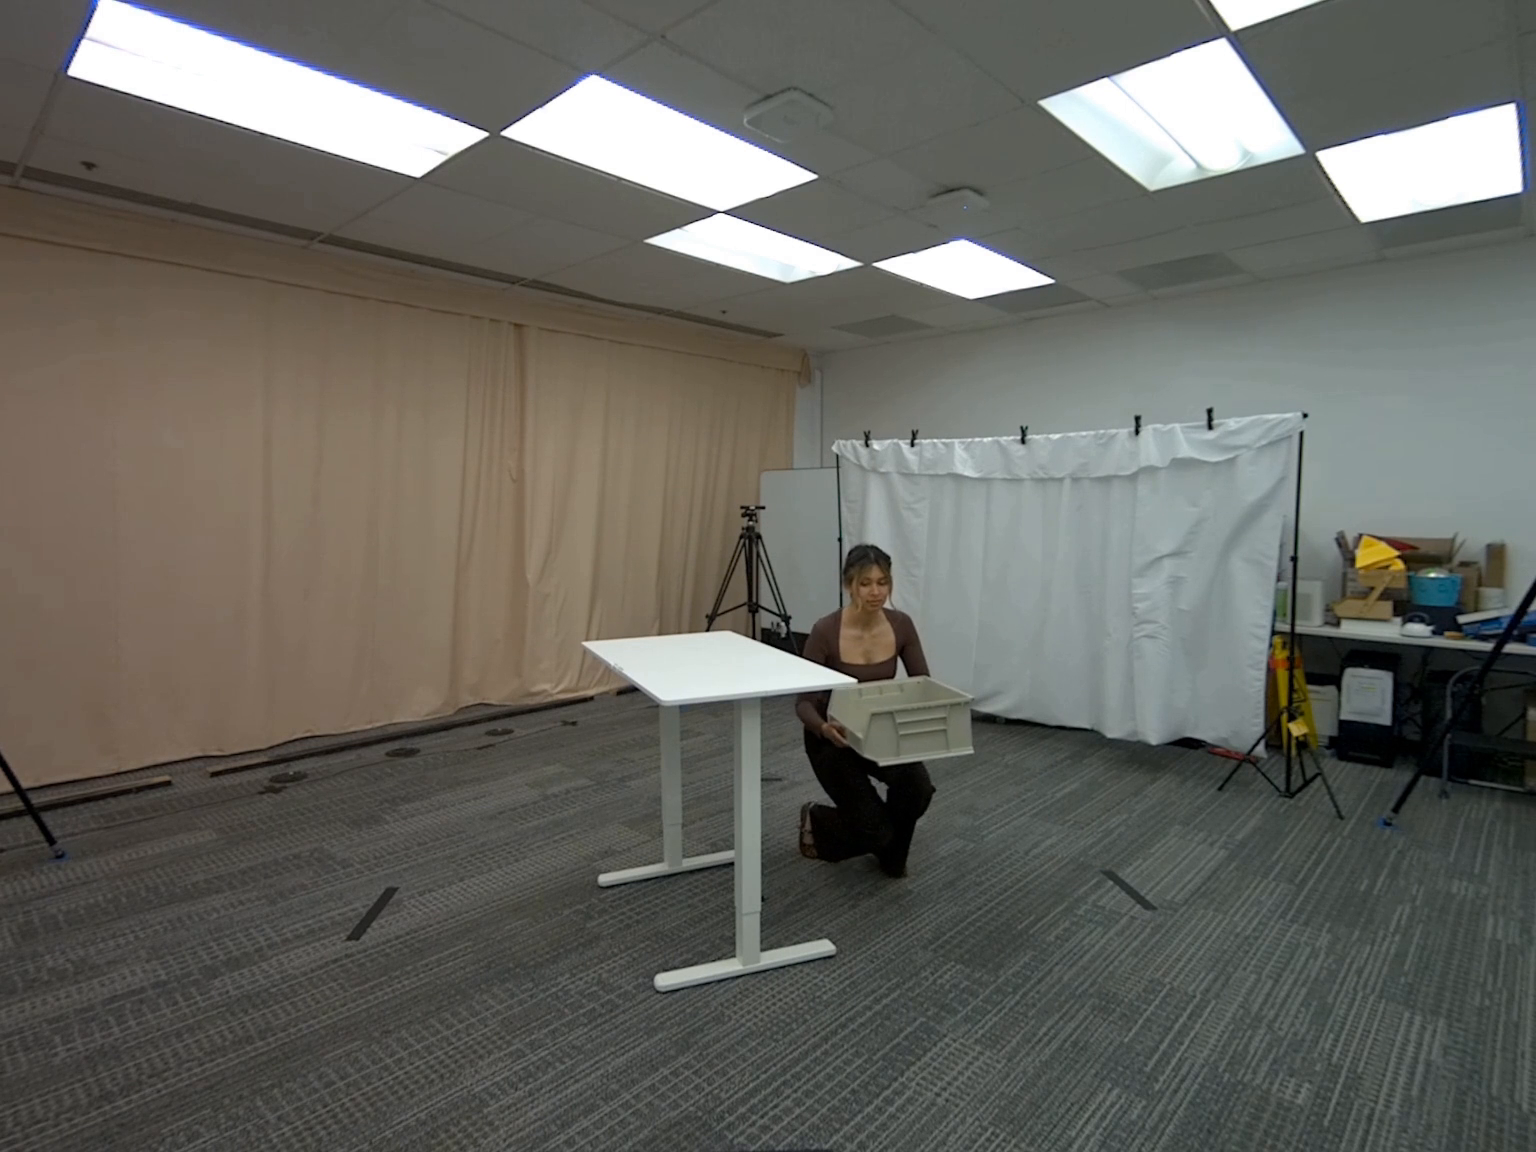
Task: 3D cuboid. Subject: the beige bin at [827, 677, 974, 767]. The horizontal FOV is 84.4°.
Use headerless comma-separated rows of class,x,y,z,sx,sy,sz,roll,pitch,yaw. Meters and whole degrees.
beige bin,0.418,0.481,2.830,0.374,0.189,0.427,-2,2,-10
